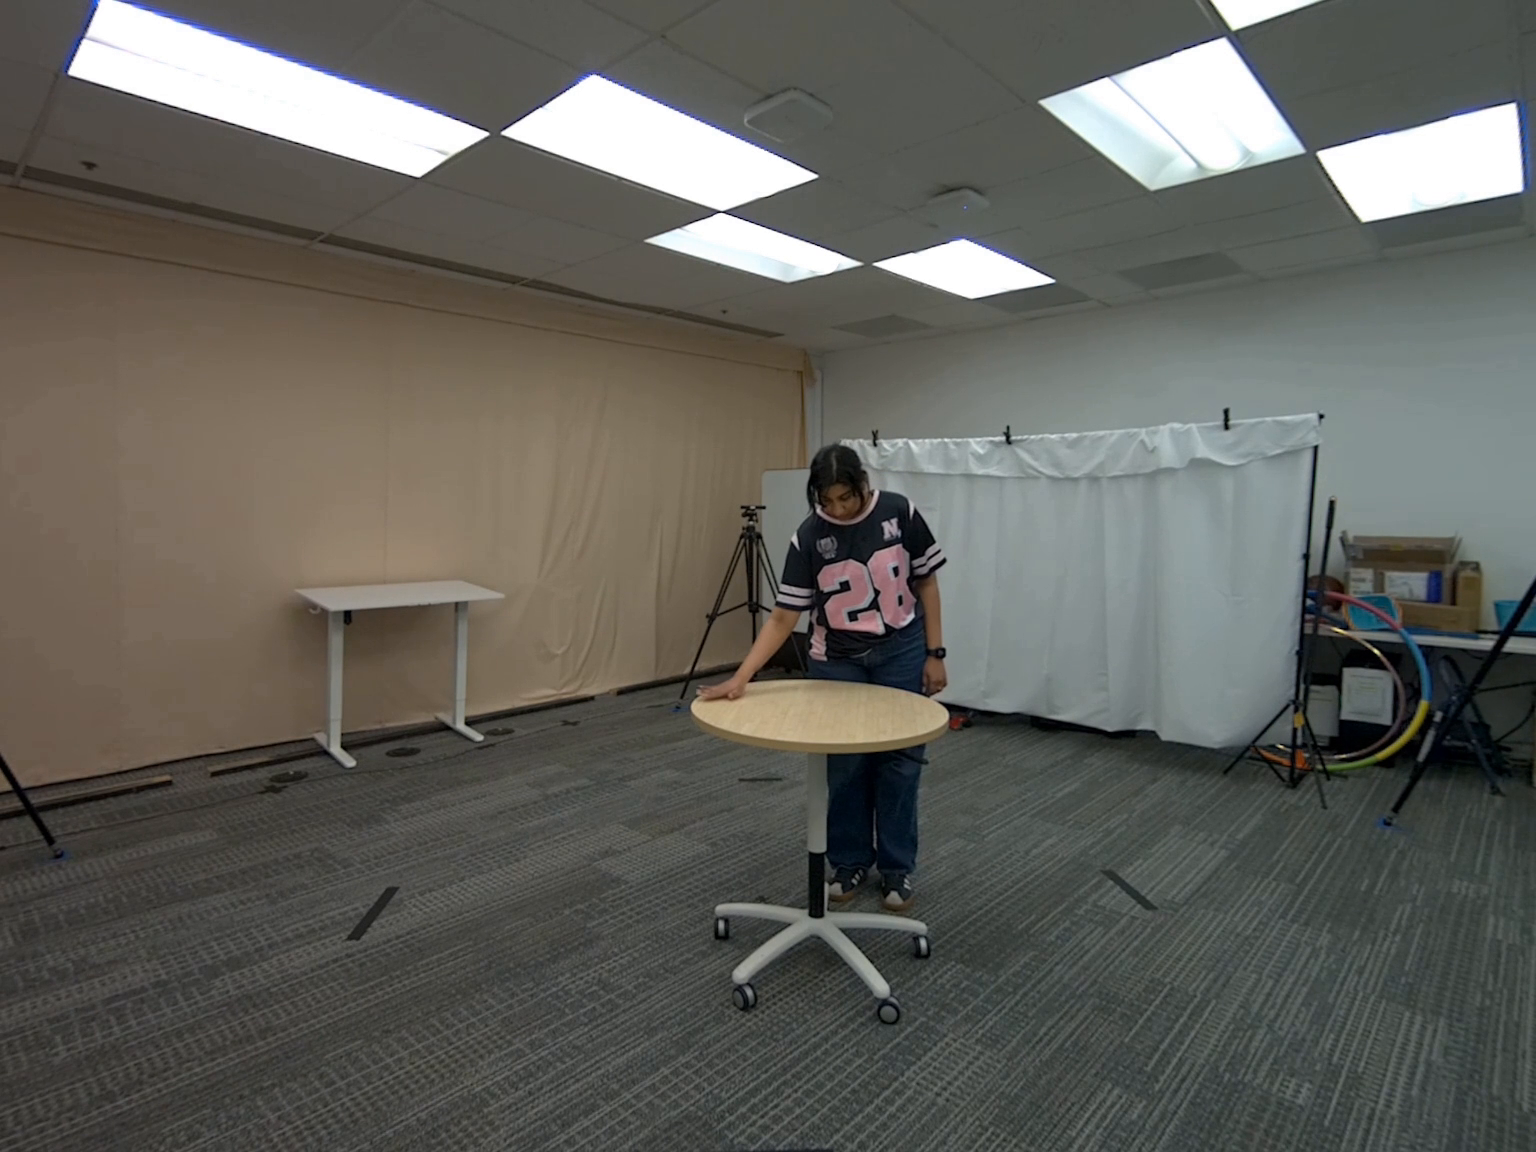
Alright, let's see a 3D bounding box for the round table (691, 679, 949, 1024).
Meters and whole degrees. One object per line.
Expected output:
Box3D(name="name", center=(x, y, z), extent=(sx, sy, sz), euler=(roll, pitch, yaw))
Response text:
Box3D(name="round table", center=(0.161, 0.789, 2.550), extent=(0.784, 0.784, 0.788), euler=(0, 4, -2))
